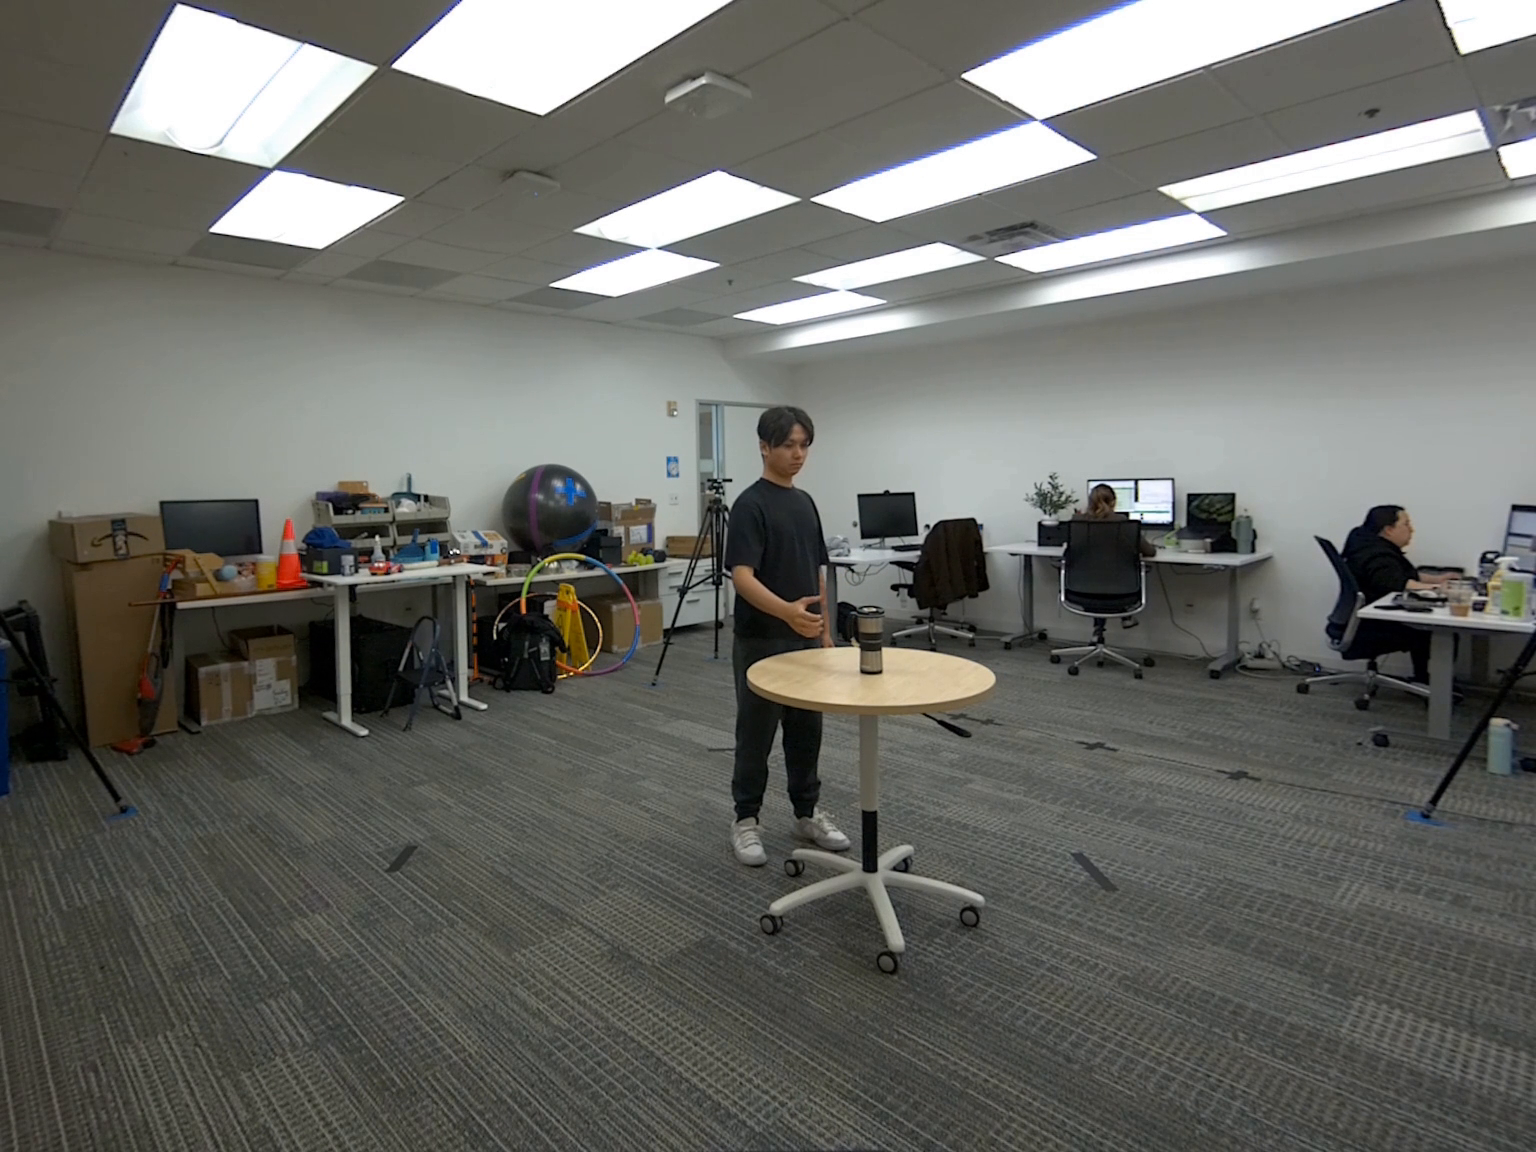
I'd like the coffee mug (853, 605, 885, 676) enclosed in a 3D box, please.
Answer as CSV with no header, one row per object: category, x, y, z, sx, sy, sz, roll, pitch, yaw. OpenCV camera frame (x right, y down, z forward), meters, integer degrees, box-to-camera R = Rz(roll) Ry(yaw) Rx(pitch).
coffee mug,0.316,0.203,2.700,0.086,0.201,0.126,-7,10,-30
